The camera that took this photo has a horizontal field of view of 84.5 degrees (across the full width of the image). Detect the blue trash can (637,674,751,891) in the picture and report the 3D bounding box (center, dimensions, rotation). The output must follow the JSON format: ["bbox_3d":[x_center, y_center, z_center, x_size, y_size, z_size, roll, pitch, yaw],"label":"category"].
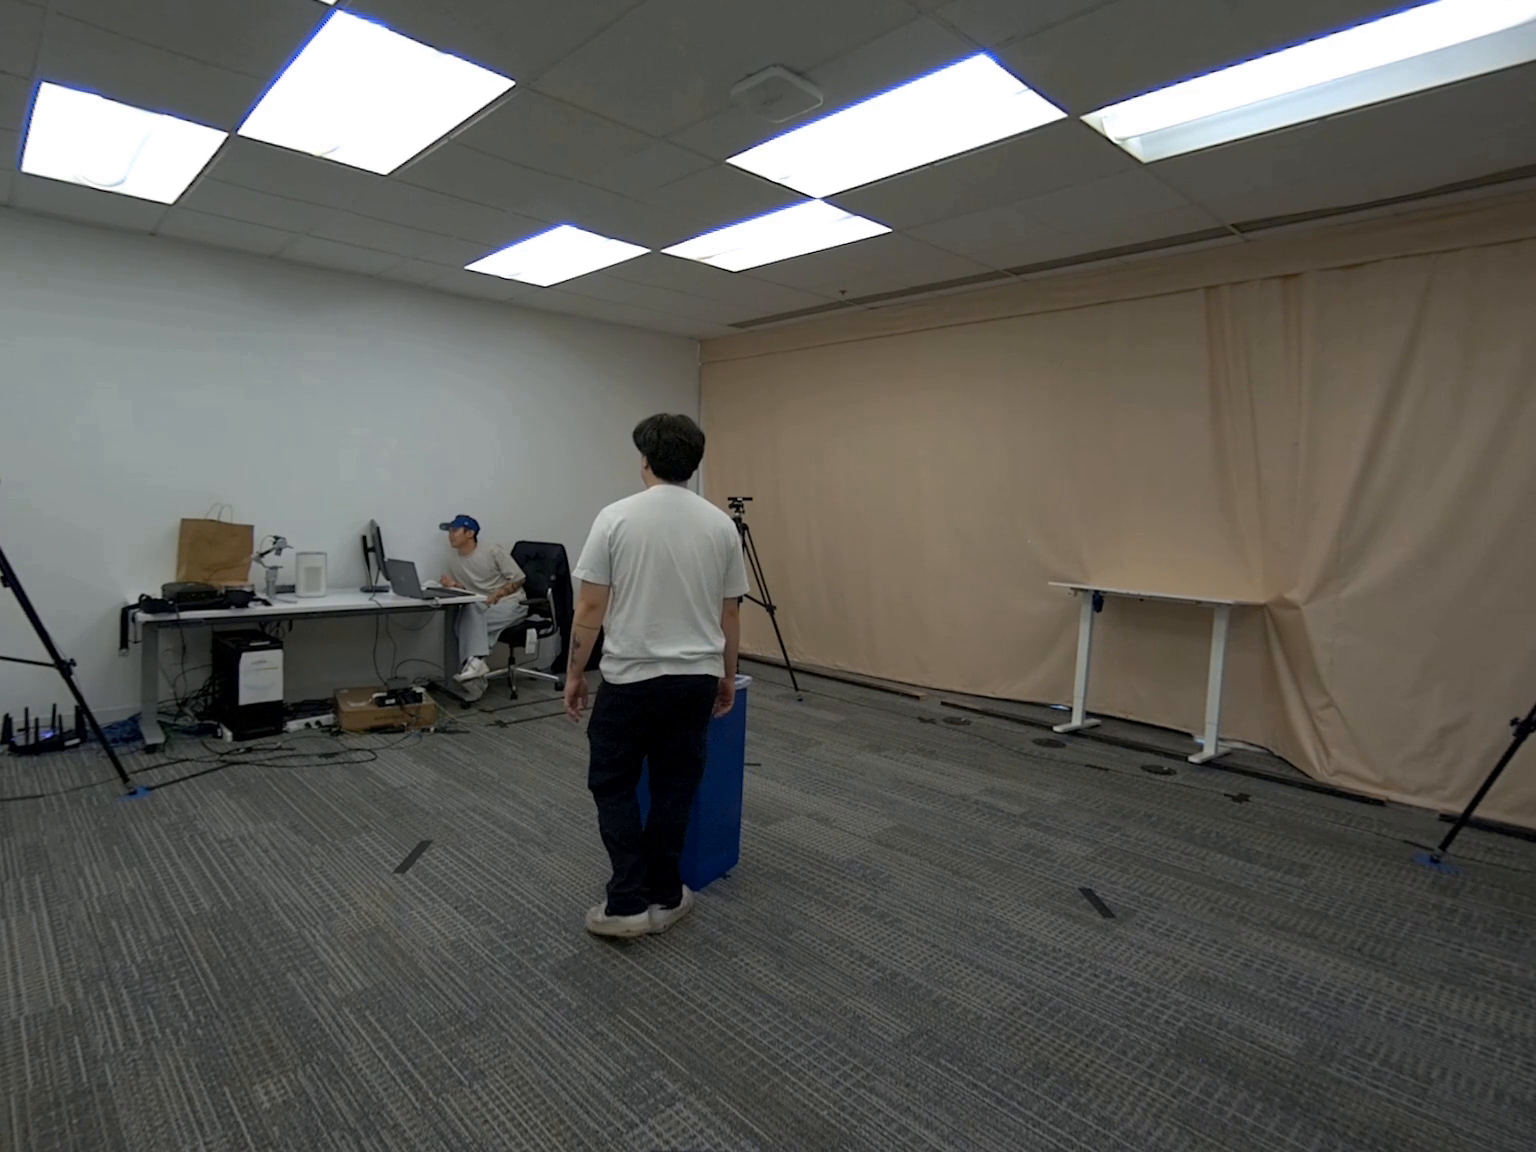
[{"bbox_3d":[-0.317,0.742,3.155,0.382,0.712,0.370,4,4,30],"label":"blue trash can"}]
